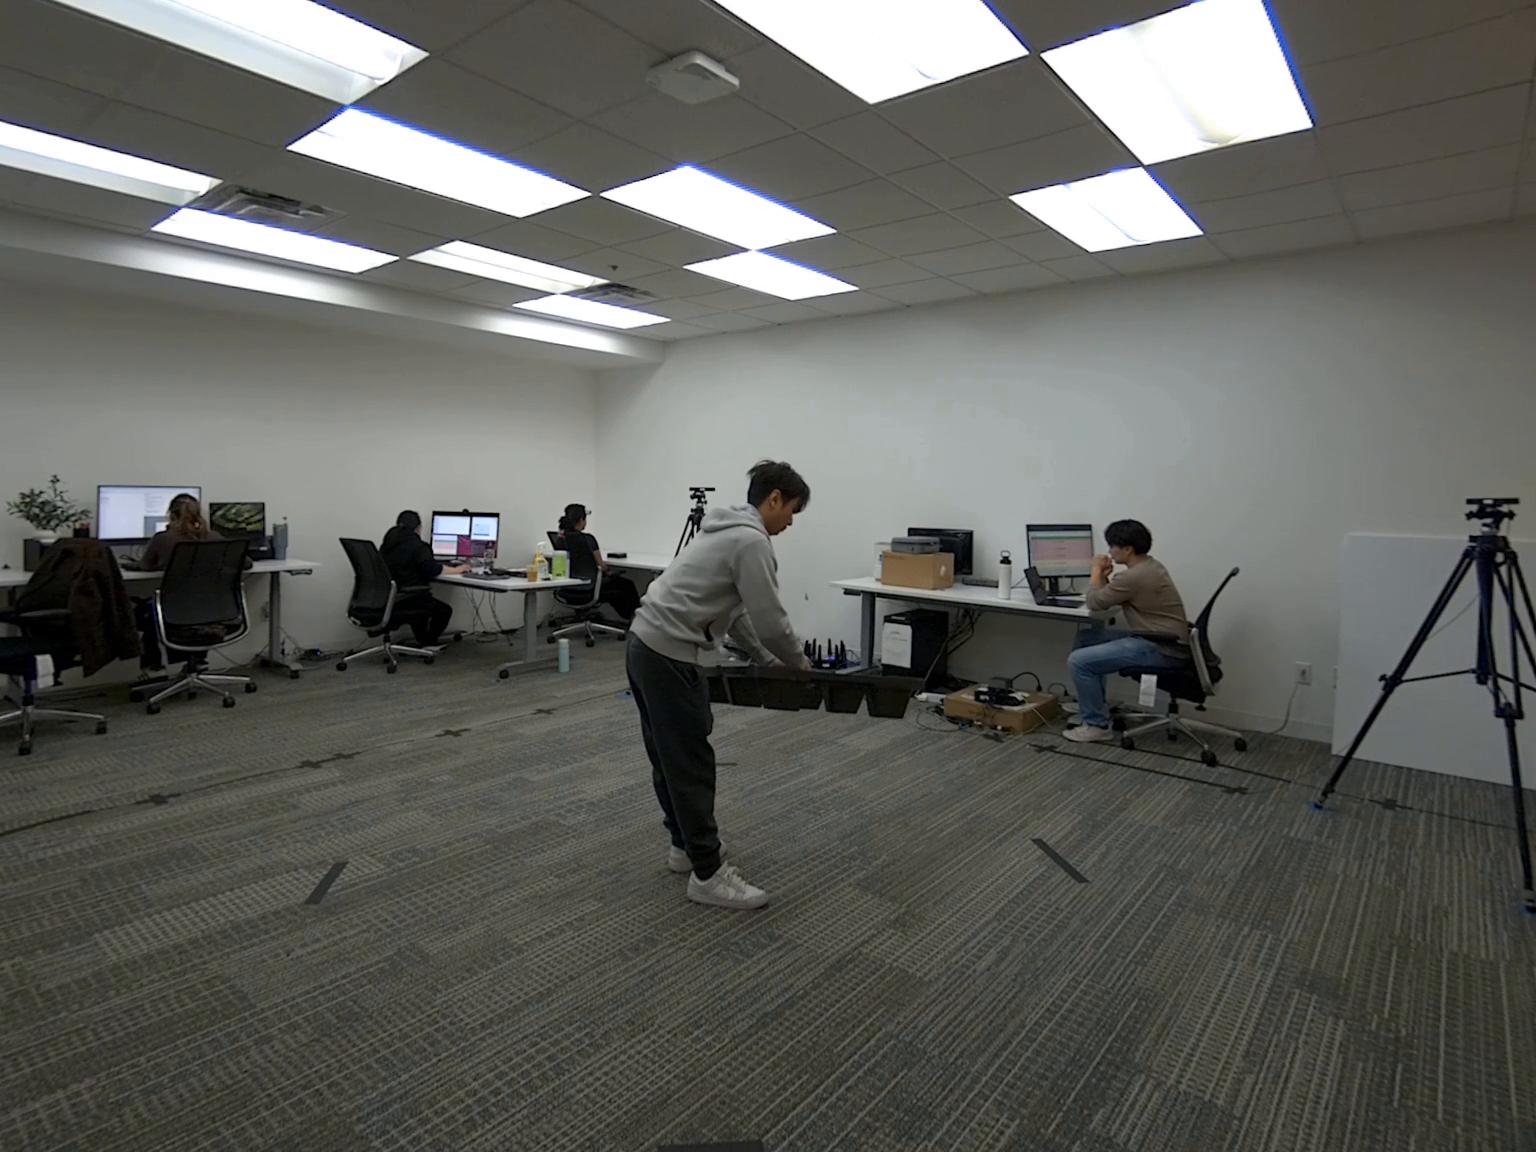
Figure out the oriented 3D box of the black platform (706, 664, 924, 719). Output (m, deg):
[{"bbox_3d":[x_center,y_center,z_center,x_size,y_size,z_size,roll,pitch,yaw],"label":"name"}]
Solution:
[{"bbox_3d":[0.096,0.413,3.071,0.593,0.144,0.815,7,-8,-19],"label":"black platform"}]
